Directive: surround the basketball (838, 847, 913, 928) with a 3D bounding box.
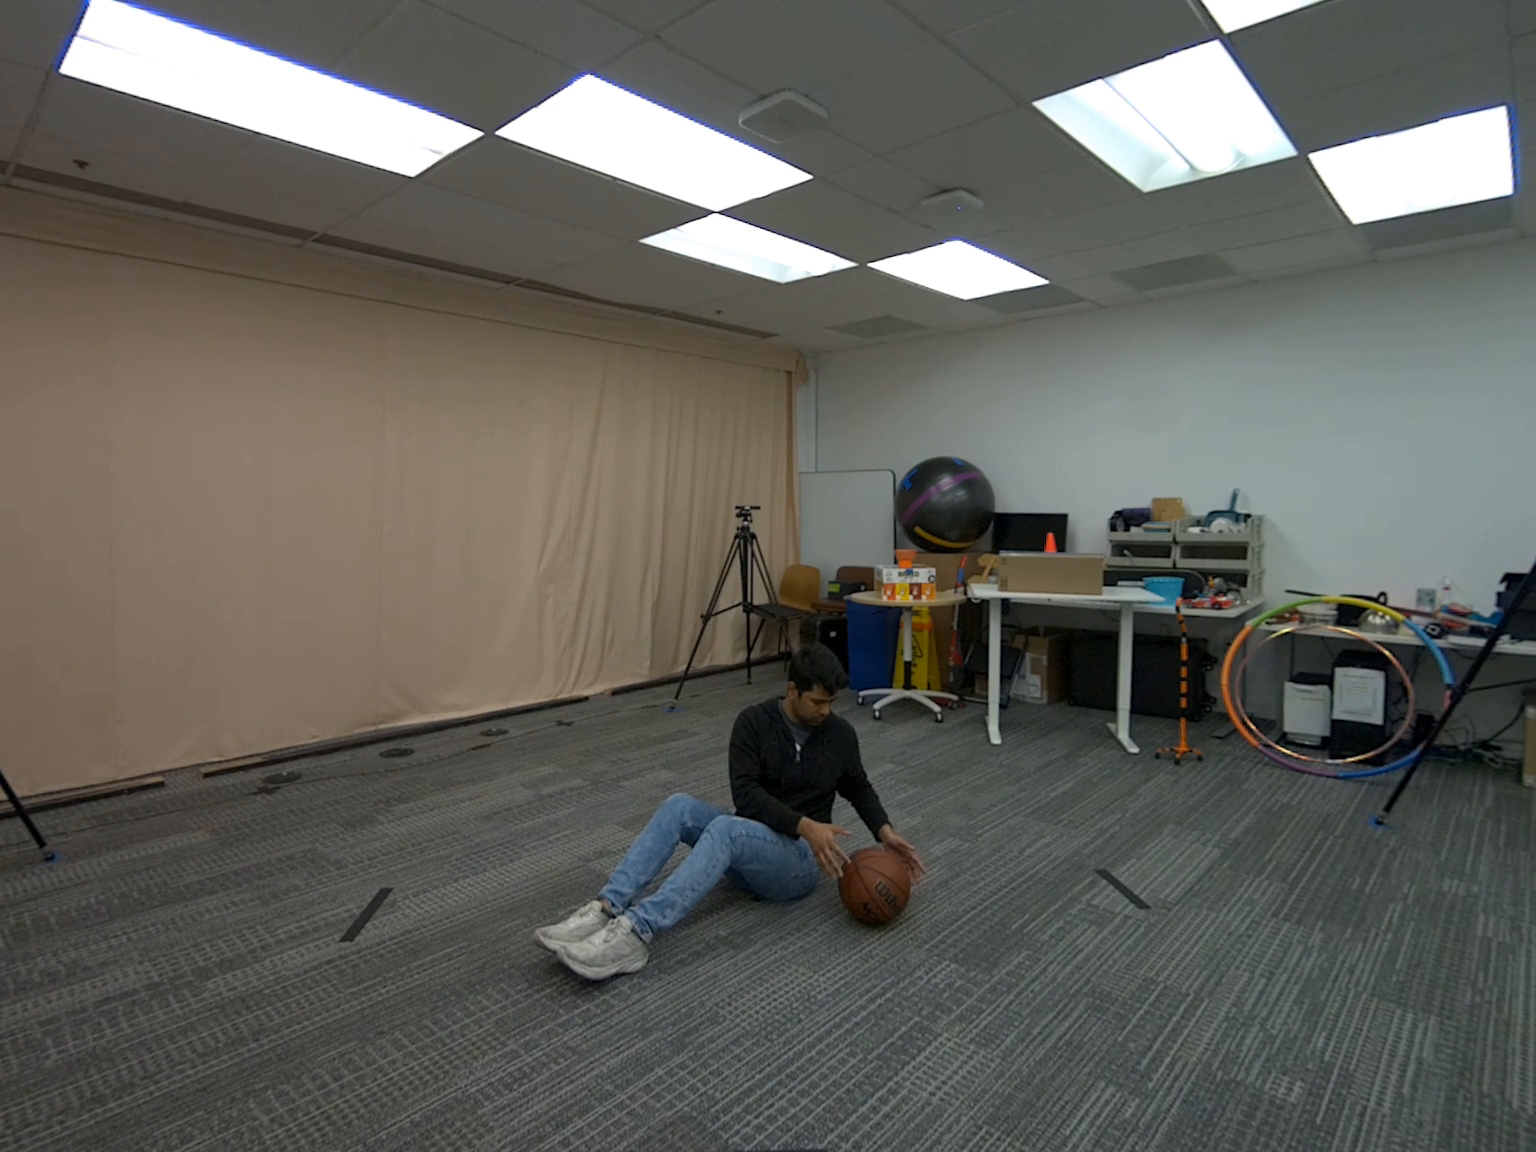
[{"bbox_3d":[0.358,1.036,2.823,0.236,0.235,0.237,0,4,-2],"label":"basketball"}]
